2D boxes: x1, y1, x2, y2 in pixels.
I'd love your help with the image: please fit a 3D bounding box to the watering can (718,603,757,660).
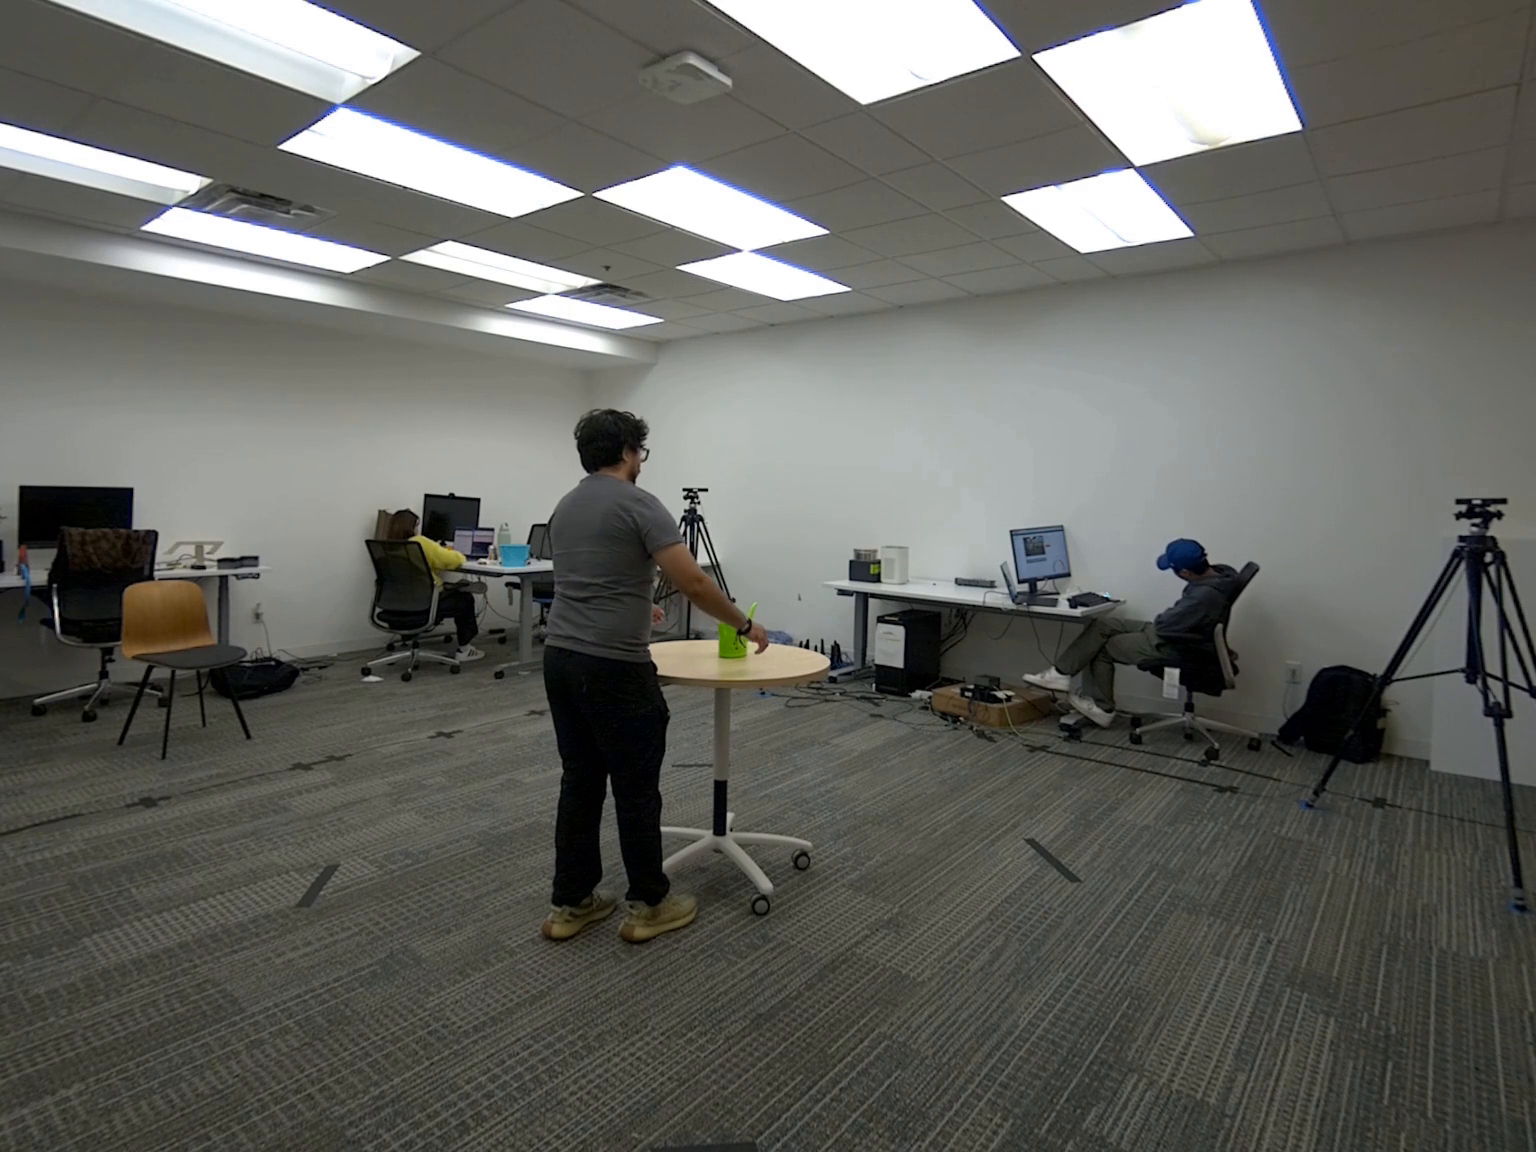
[{"bbox_3d":[-0.111,0.200,3.128,0.101,0.176,0.270,4,7,42],"label":"watering can"}]
